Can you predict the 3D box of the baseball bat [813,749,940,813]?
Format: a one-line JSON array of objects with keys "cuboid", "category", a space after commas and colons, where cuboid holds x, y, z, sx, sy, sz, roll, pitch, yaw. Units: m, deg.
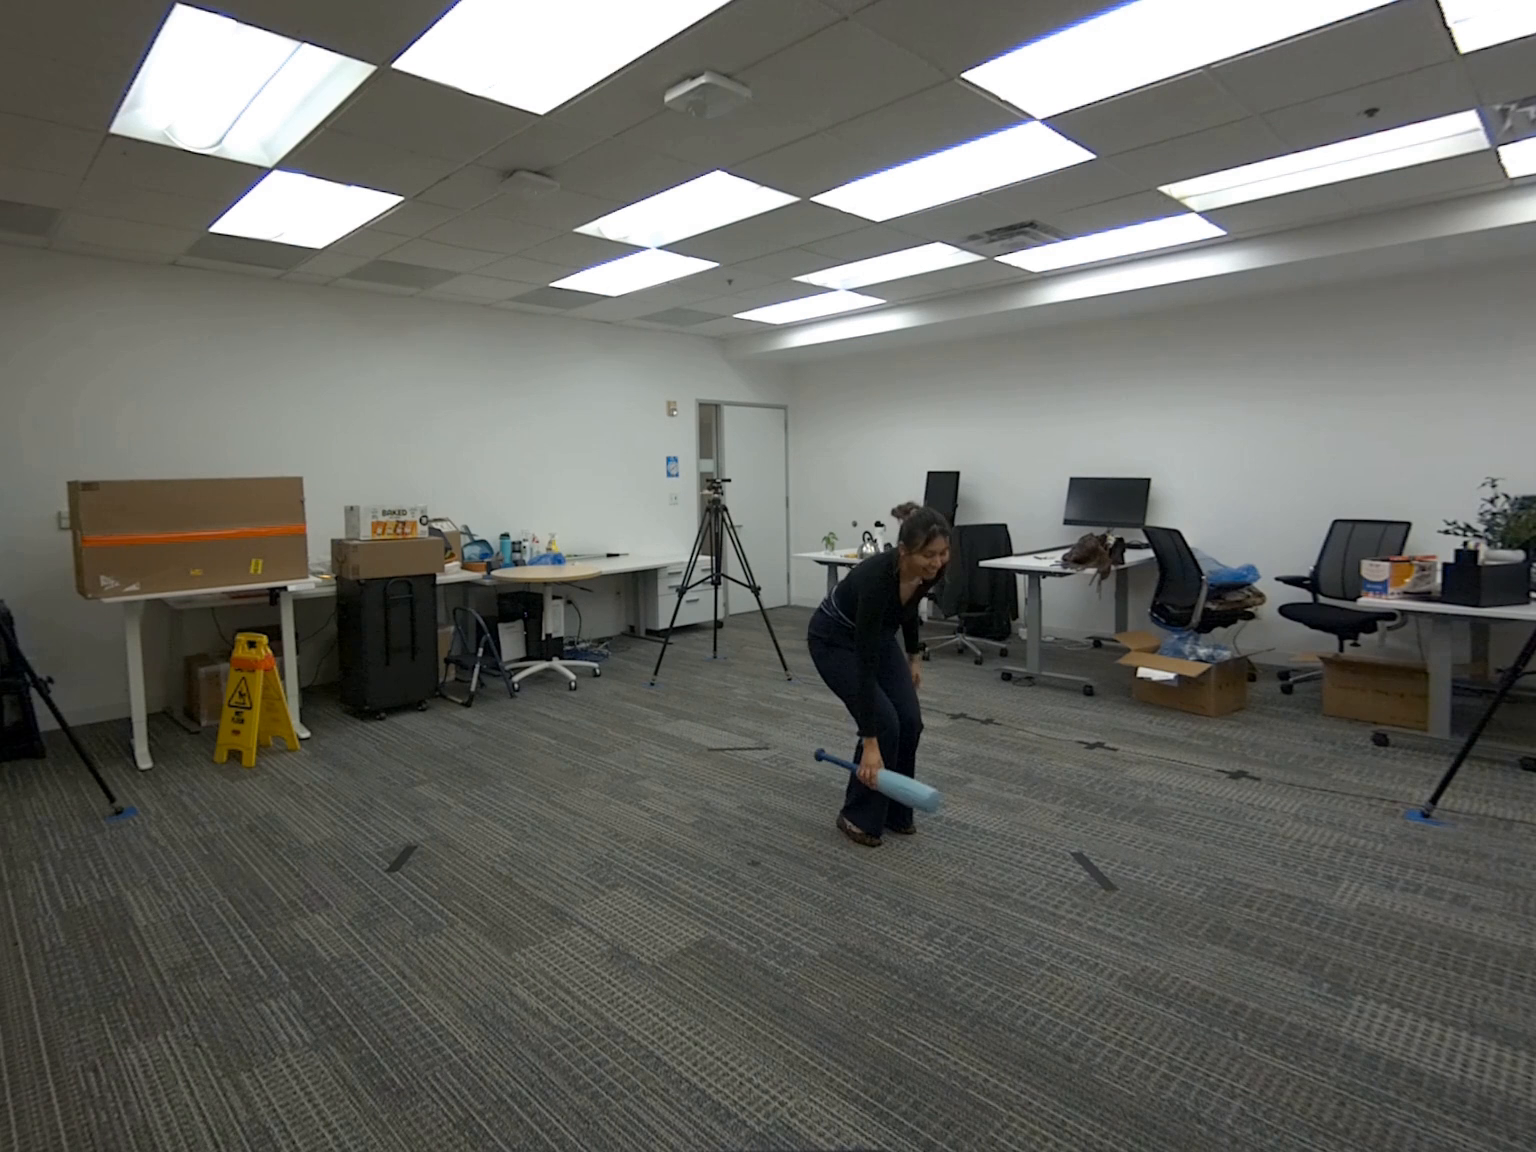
[{"cuboid": [0.388, 0.707, 3.055, 0.087, 0.088, 0.561, -5, 11, -40], "category": "baseball bat"}]
